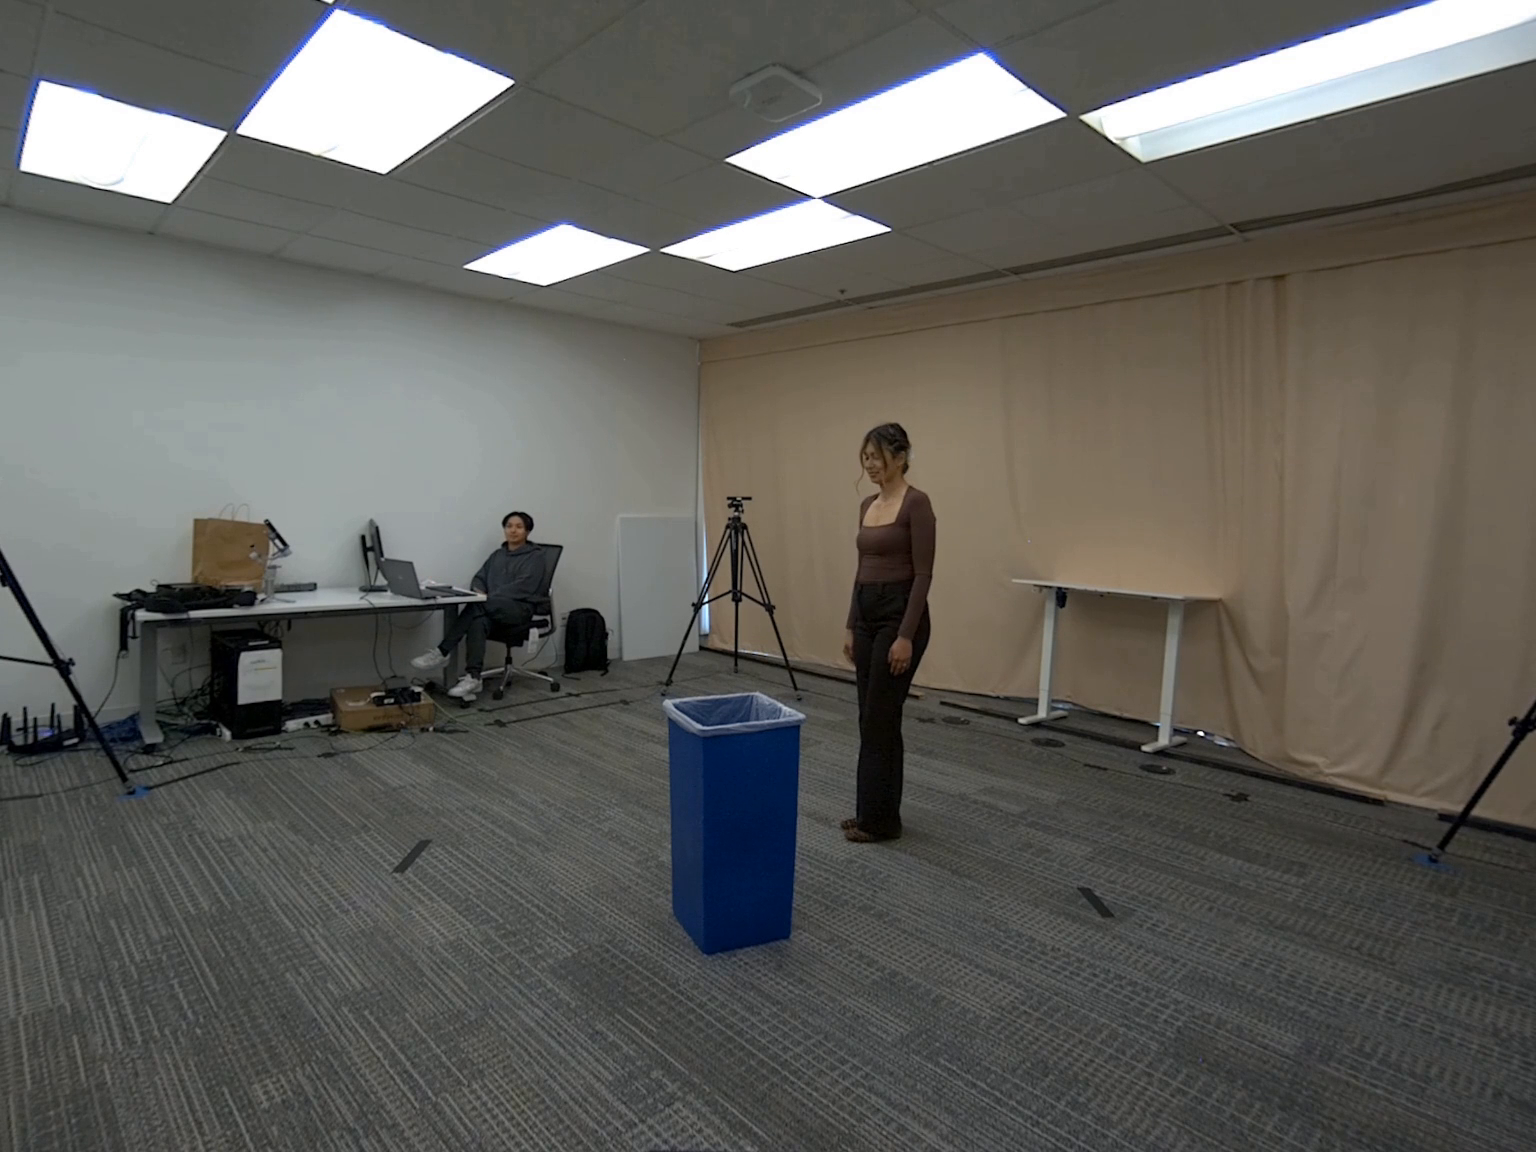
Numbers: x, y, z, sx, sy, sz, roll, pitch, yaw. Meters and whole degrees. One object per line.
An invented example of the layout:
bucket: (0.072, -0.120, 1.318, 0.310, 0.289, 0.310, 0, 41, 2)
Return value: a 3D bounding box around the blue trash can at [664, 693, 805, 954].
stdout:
blue trash can: (-0.127, 0.783, 2.724, 0.367, 0.712, 0.386, 0, 3, -26)
